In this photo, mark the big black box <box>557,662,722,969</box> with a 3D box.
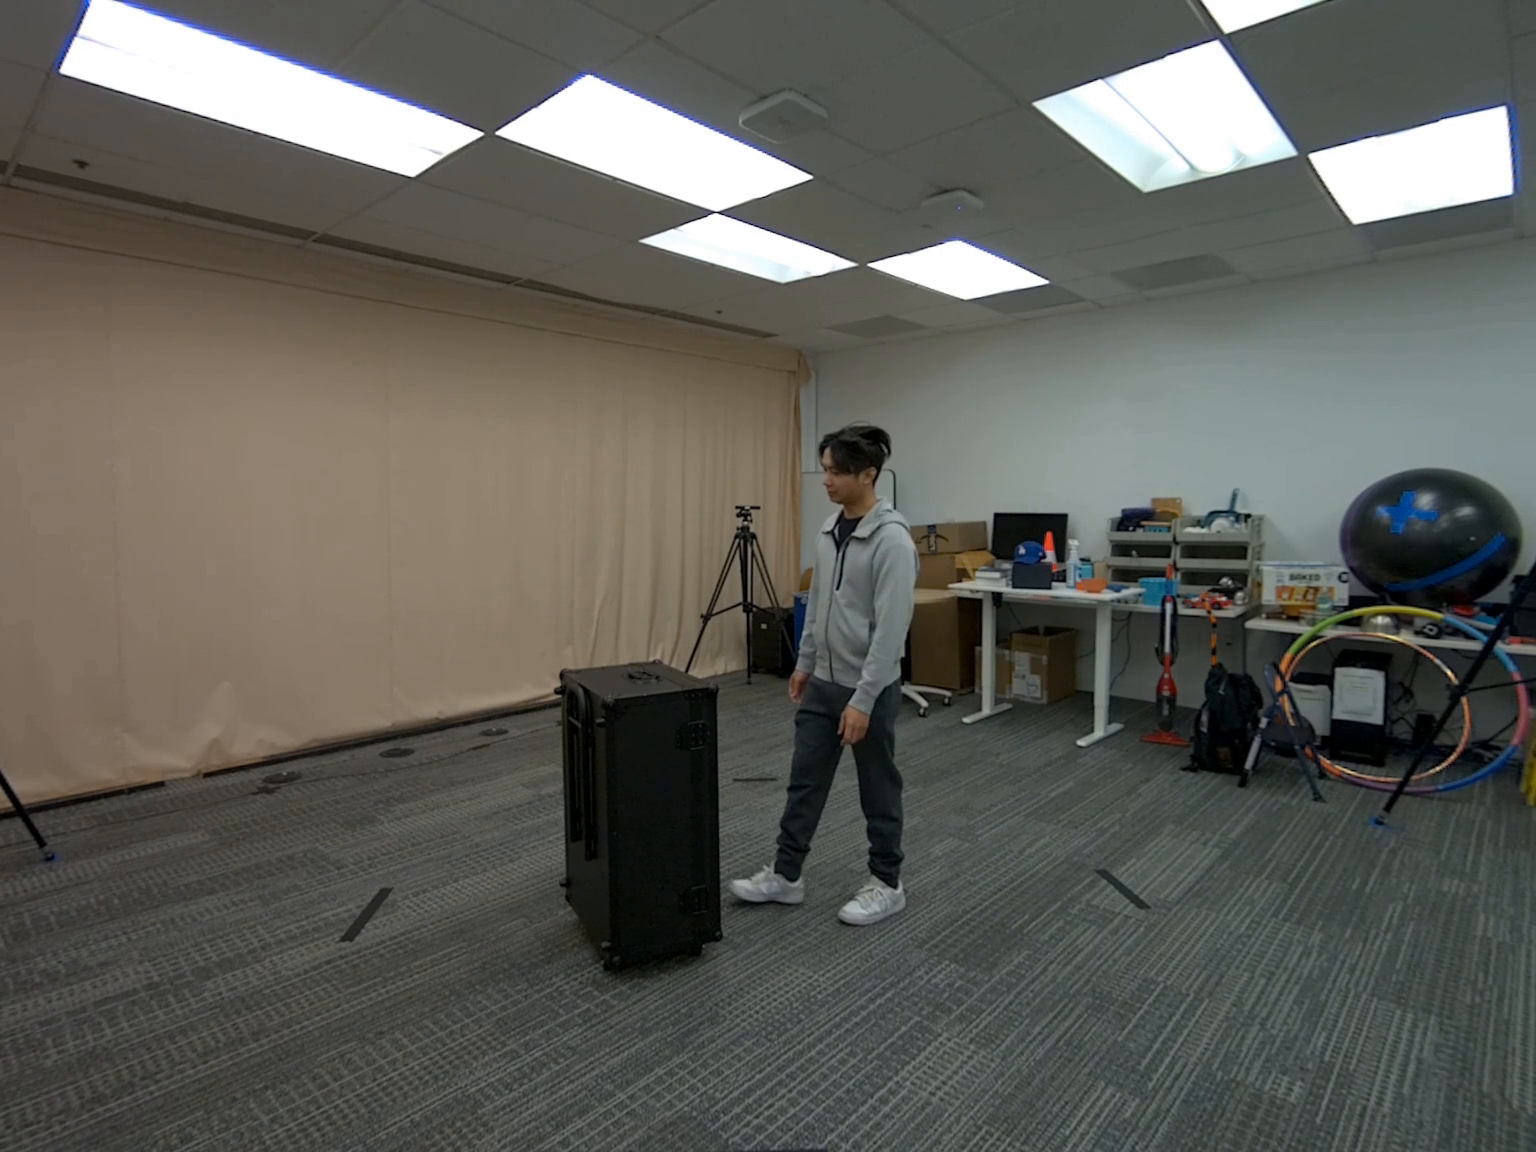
[{"bbox_3d":[-0.417,0.751,2.672,0.386,0.860,0.536,-3,4,-28],"label":"big black box"}]
